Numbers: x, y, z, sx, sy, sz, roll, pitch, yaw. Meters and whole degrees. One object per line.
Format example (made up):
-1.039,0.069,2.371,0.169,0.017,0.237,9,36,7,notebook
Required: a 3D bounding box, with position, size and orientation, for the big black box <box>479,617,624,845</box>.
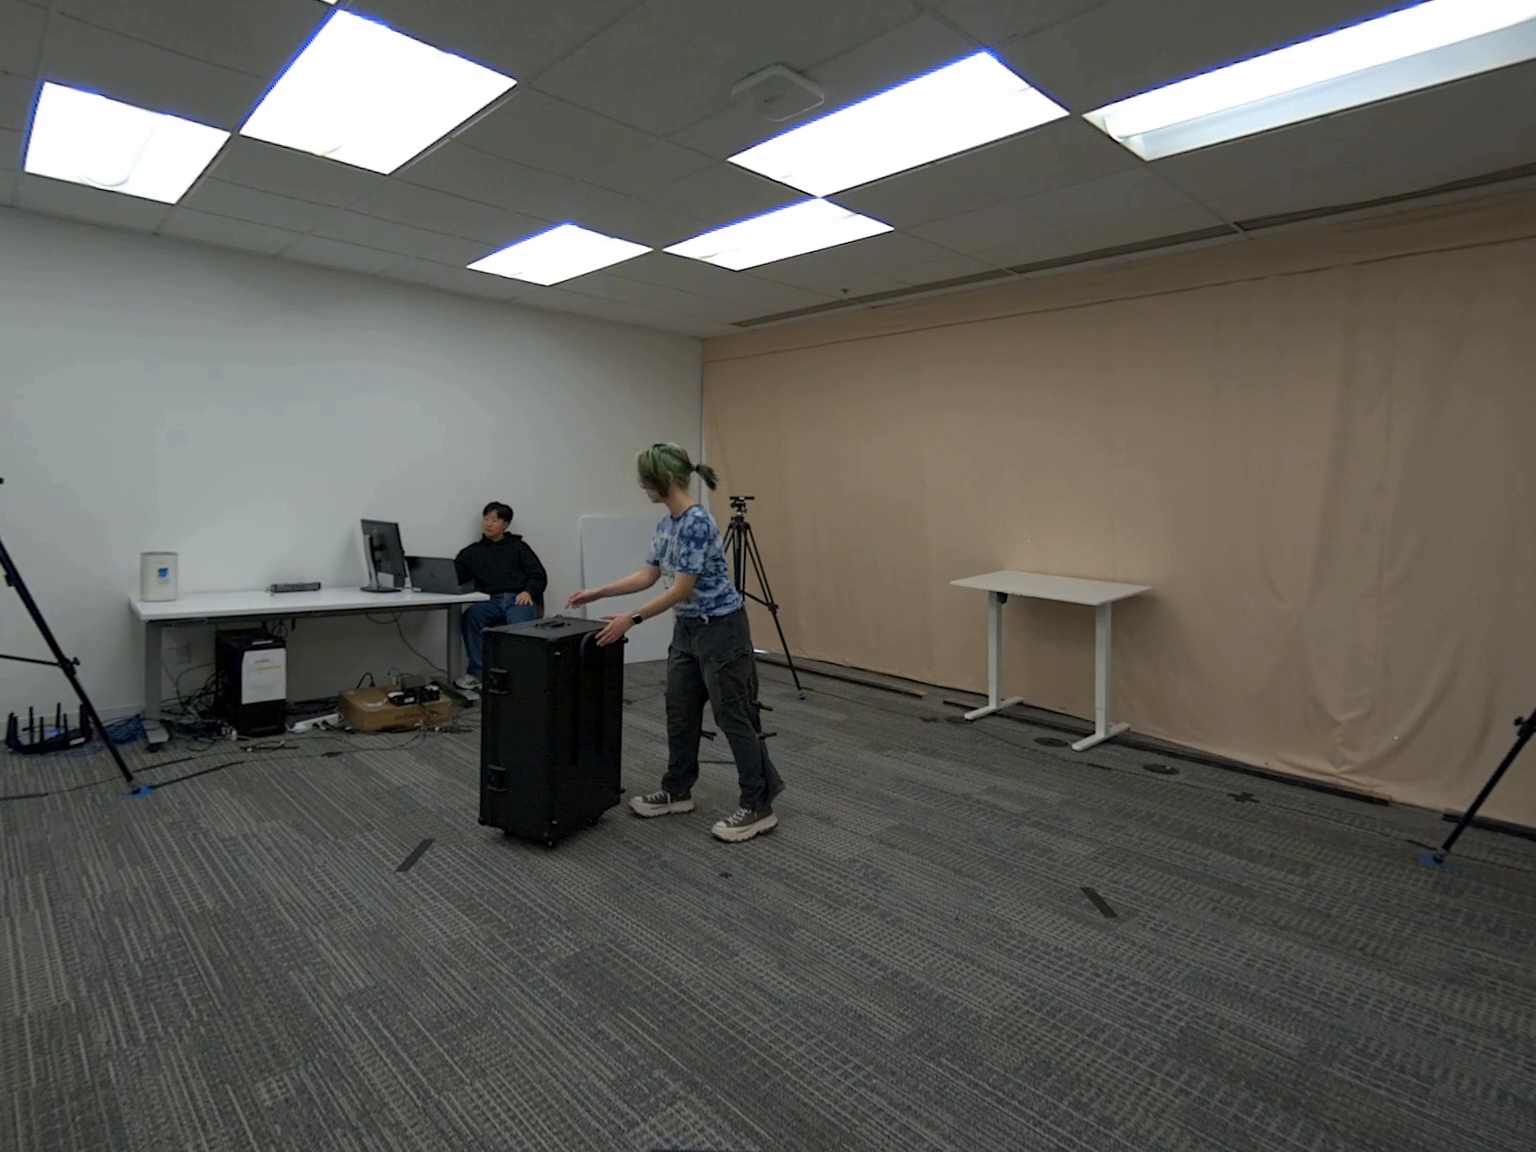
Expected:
-0.878,0.634,3.463,0.404,0.860,0.512,4,3,25,big black box
